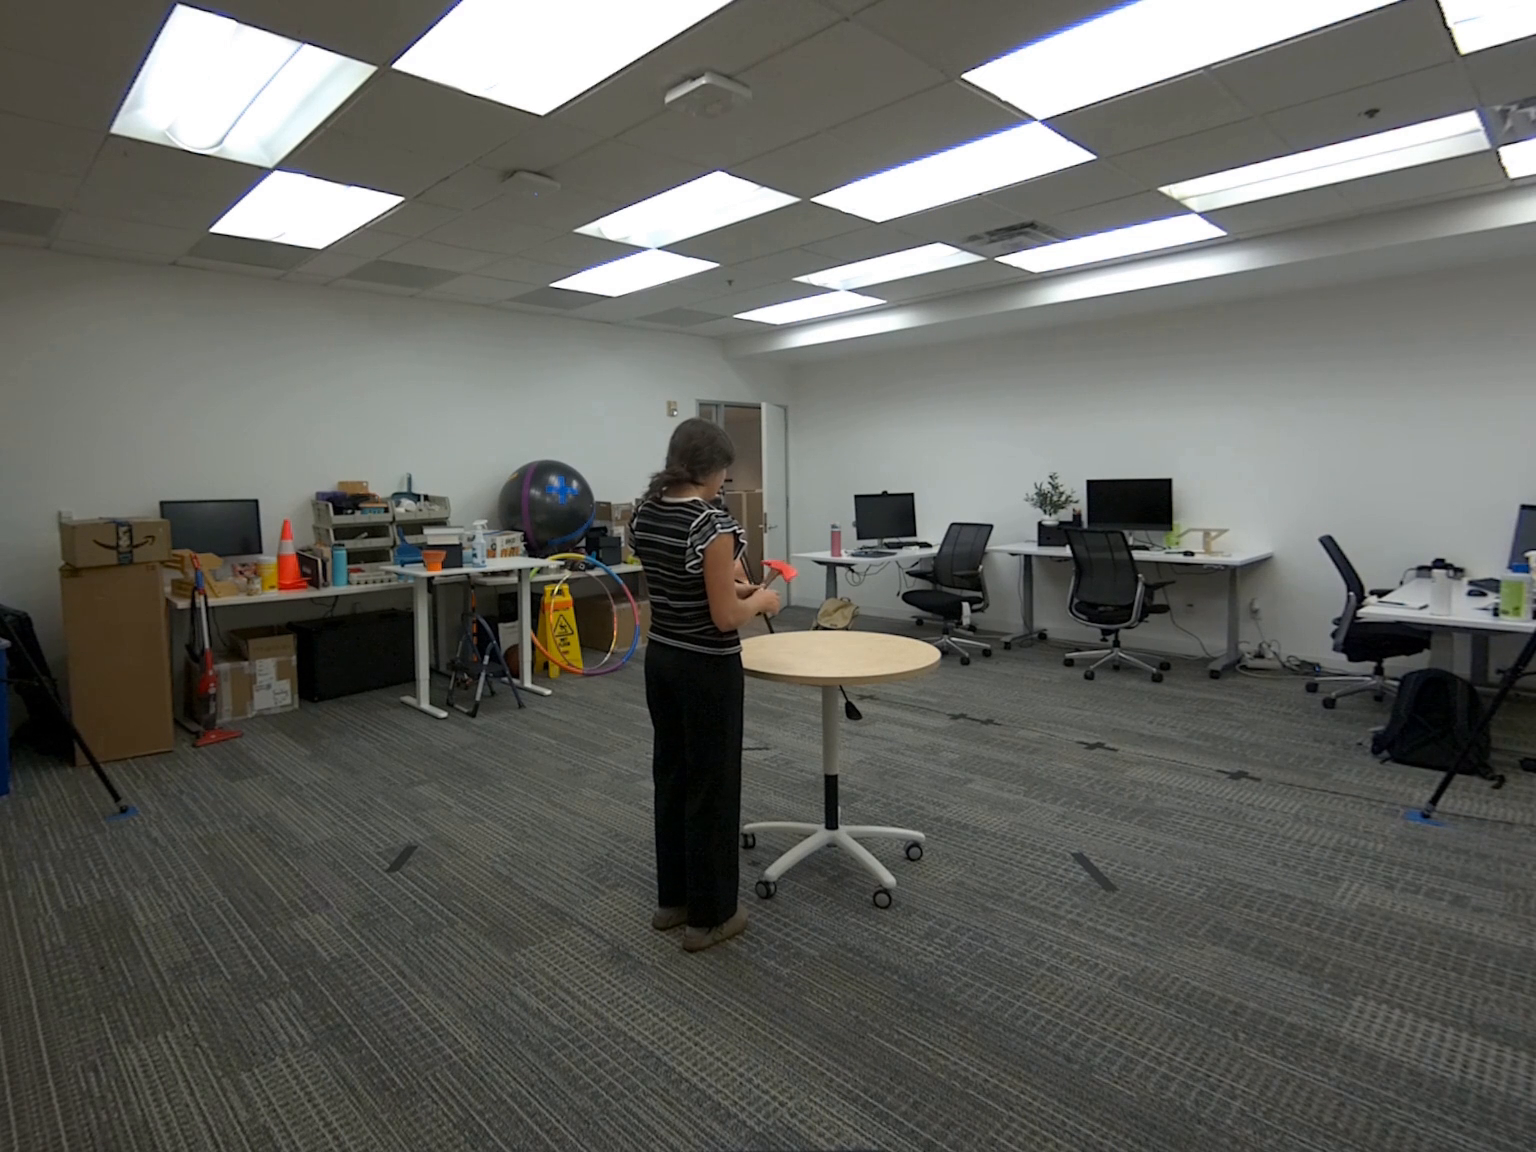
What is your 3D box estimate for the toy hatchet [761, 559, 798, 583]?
[{"bbox_3d":[0.030,0.035,2.823,0.132,0.029,0.274,8,38,7],"label":"toy hatchet"}]
